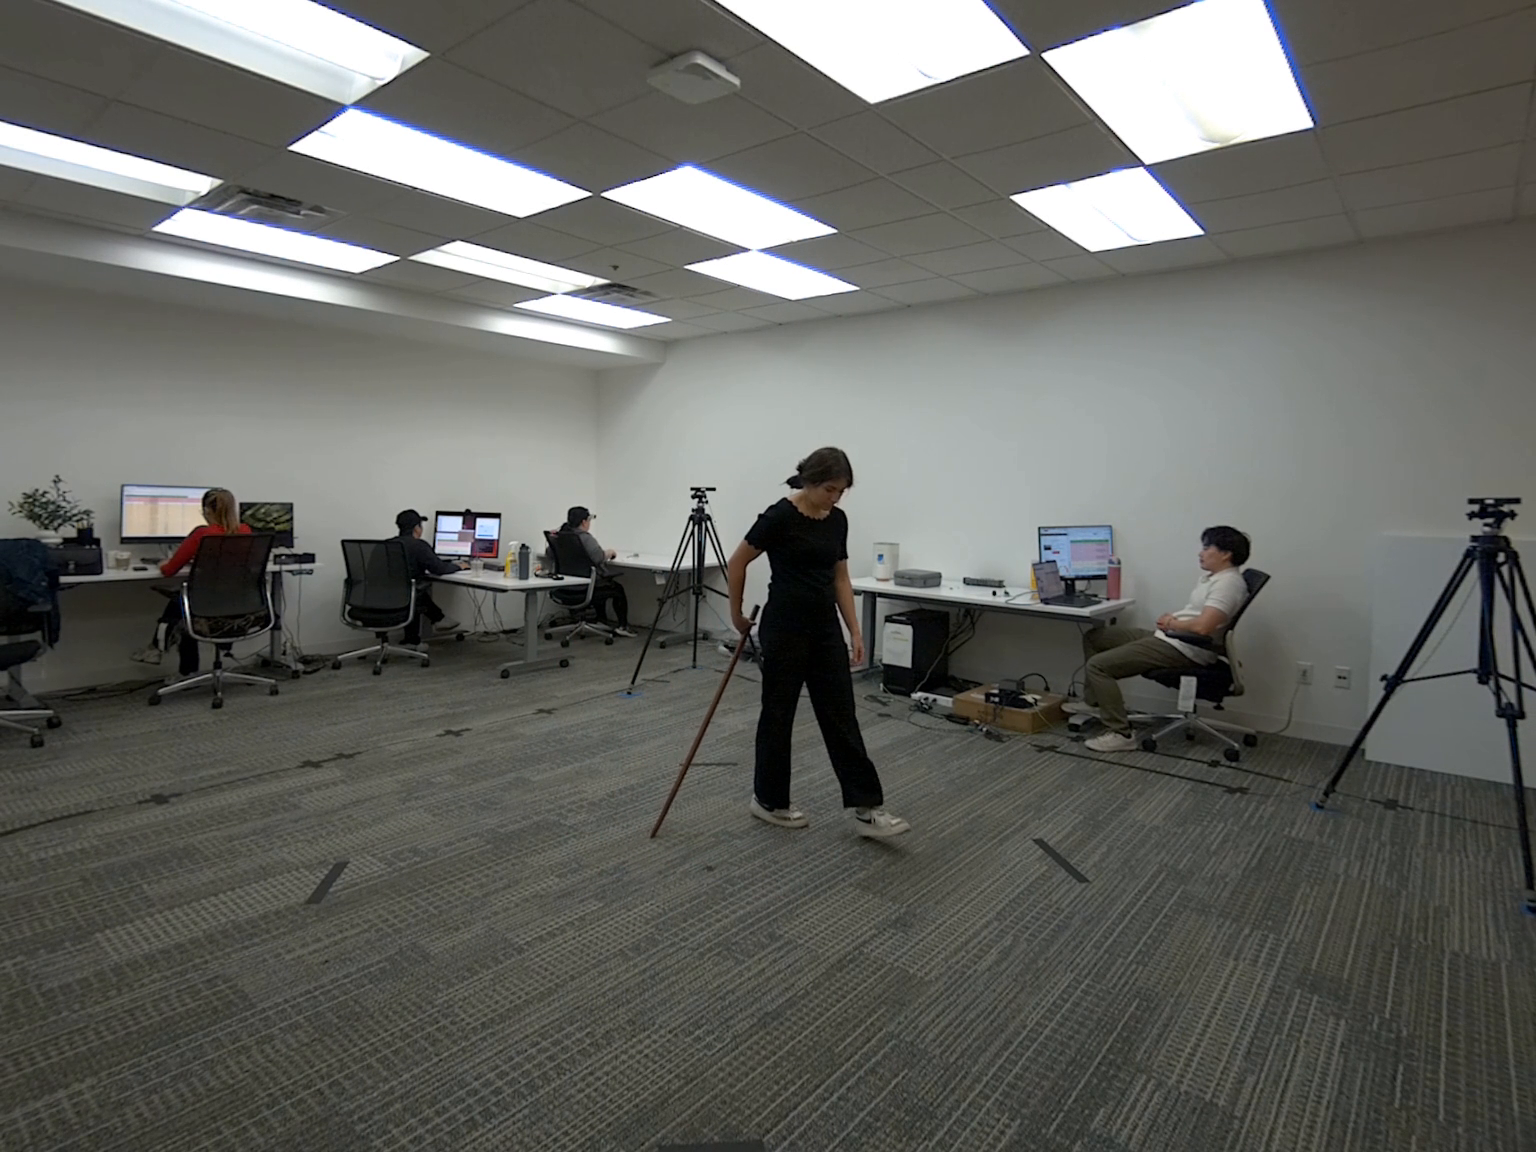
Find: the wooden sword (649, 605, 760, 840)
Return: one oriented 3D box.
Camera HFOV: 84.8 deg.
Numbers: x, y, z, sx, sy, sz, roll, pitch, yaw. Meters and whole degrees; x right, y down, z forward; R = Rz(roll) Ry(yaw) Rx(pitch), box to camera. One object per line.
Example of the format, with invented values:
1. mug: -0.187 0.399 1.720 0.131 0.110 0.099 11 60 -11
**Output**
1. wooden sword: -0.262 0.602 3.519 0.023 1.031 0.052 30 -17 -16
